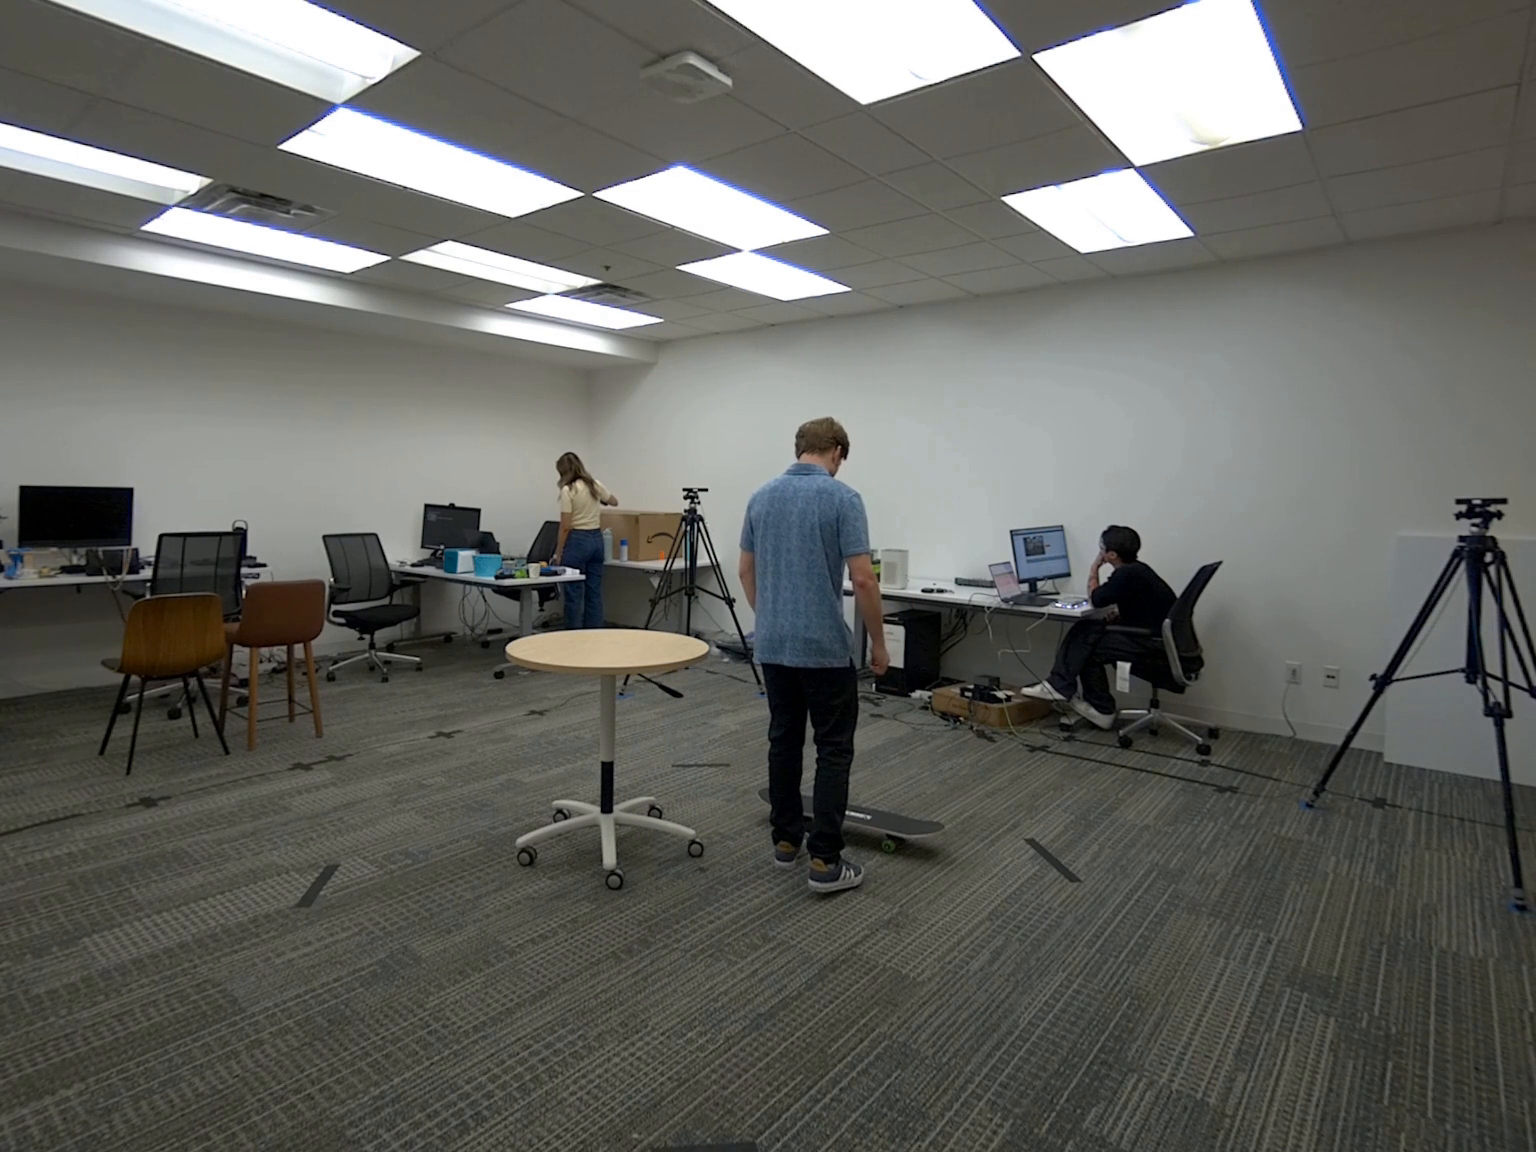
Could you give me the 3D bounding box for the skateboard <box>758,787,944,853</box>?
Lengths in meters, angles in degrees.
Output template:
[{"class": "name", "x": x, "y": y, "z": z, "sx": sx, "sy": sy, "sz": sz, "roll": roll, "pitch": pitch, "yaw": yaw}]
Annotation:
[{"class": "skateboard", "x": 0.306, "y": 0.982, "z": 3.451, "sx": 0.807, "sy": 0.110, "sz": 0.189, "roll": 4, "pitch": 6, "yaw": 27}]
